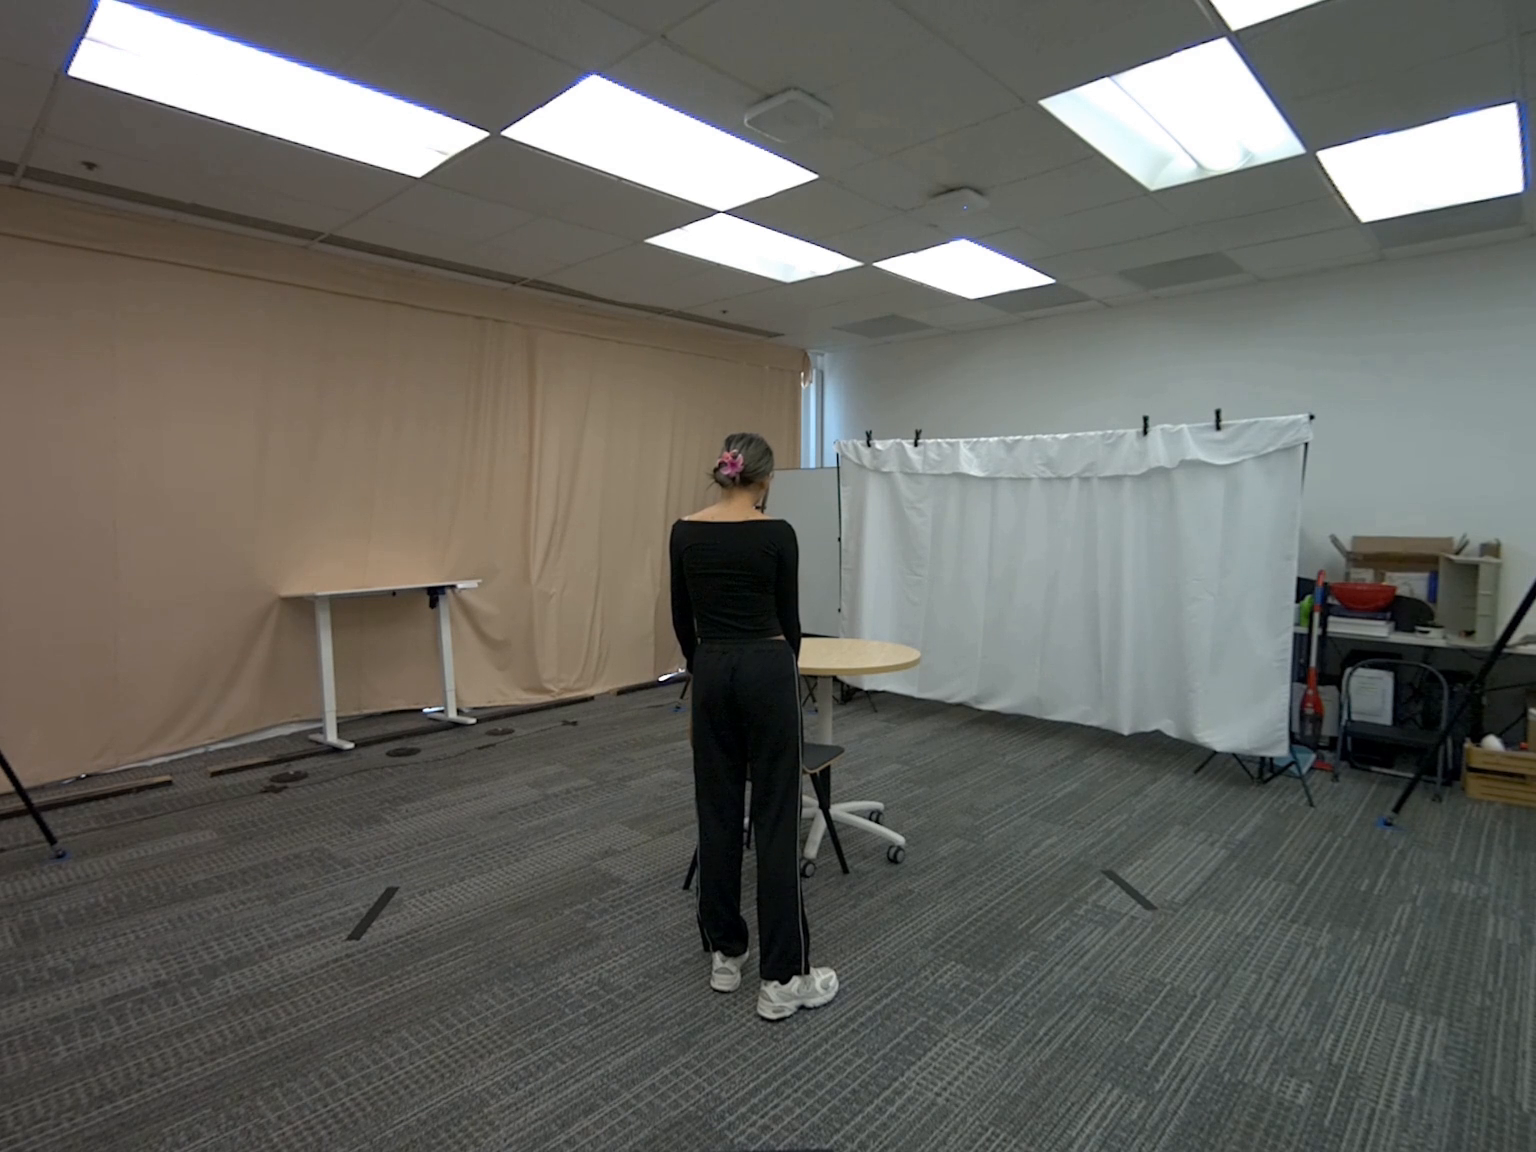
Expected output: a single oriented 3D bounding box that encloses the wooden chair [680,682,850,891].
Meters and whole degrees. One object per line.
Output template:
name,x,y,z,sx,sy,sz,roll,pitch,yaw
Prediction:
wooden chair,-0.001,0.704,3.094,0.492,0.873,0.510,1,8,33
